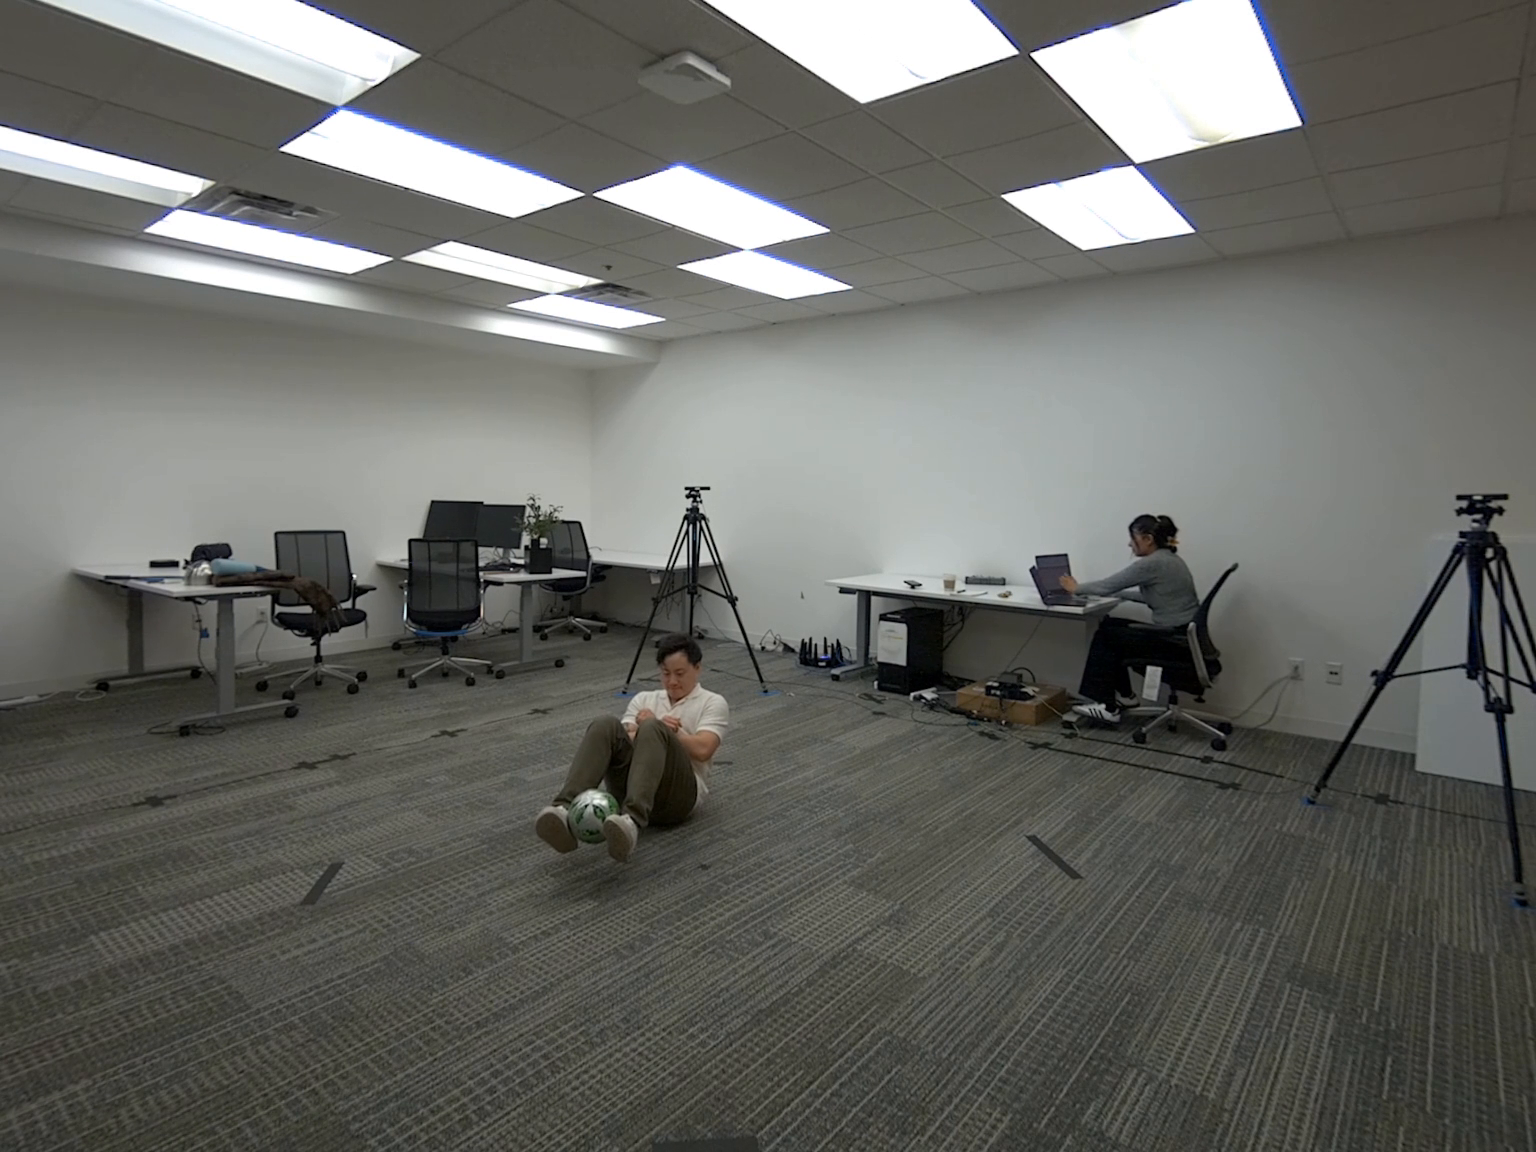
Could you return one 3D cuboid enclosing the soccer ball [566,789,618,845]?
[{"bbox_3d":[-0.641,0.852,3.034,0.187,0.187,0.188,1,4,-2],"label":"soccer ball"}]
